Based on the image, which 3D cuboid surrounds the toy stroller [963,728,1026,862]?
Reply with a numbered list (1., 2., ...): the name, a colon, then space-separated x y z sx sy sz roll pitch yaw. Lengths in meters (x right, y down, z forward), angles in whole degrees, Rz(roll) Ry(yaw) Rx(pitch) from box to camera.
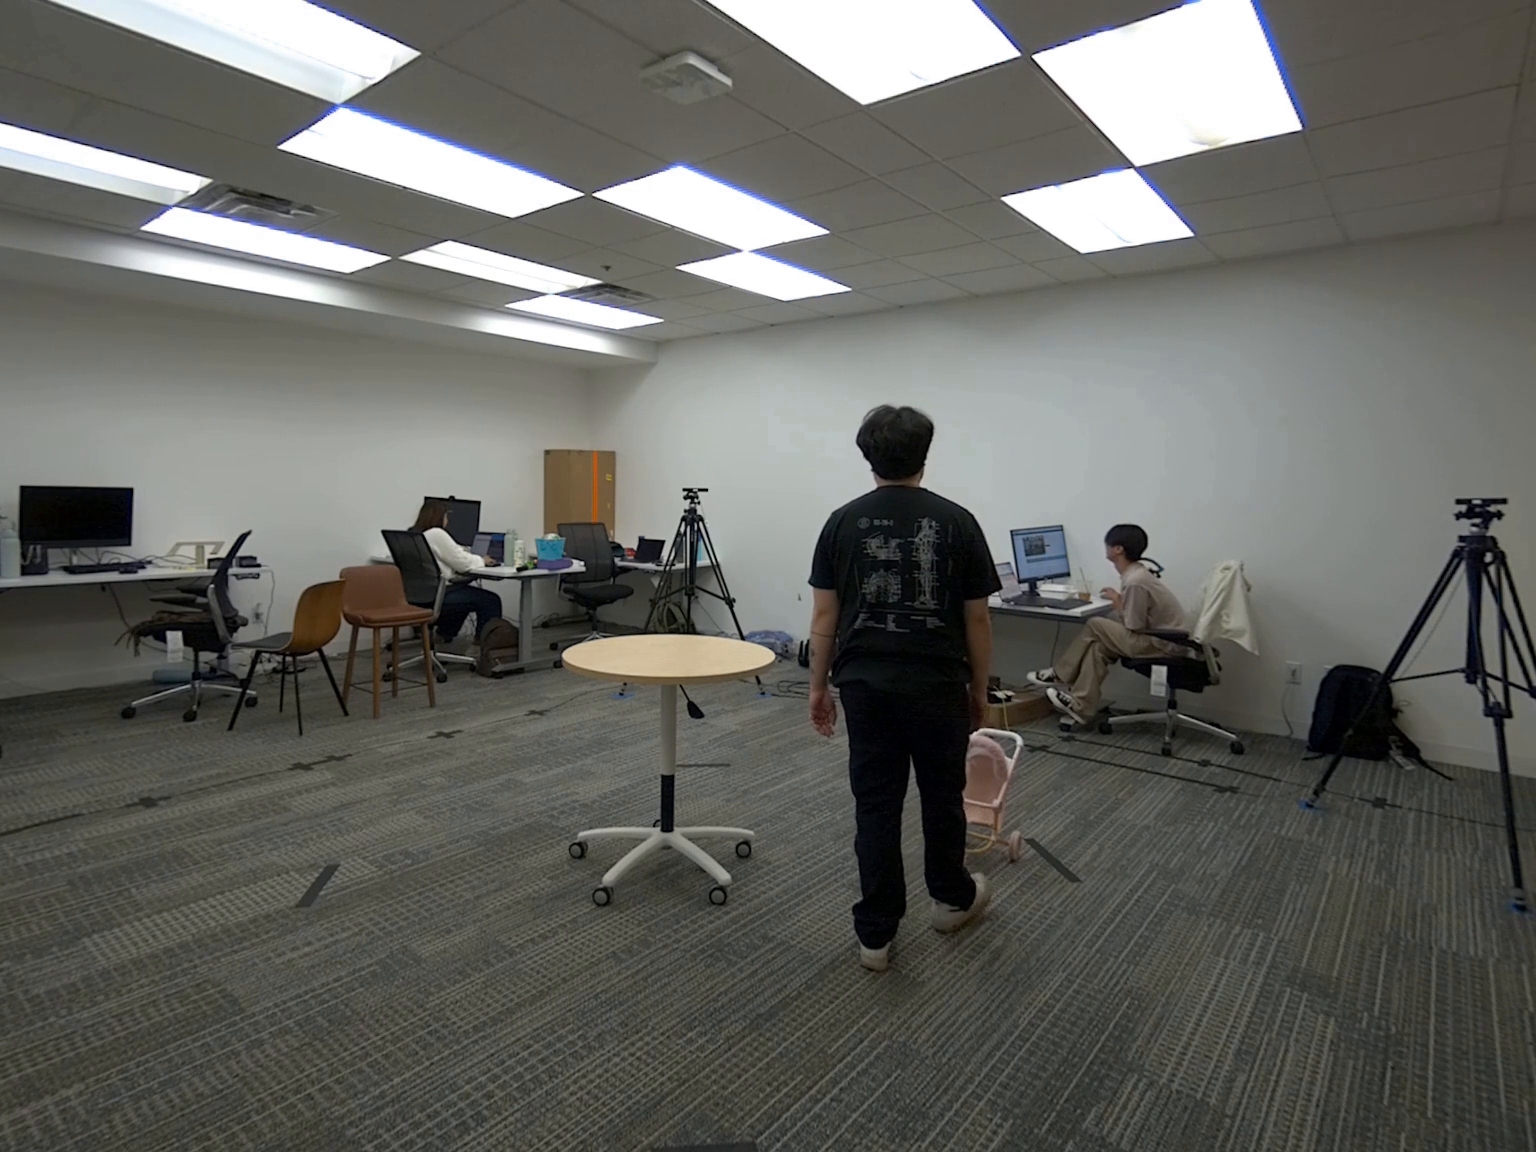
1. toy stroller: 0.803 0.853 3.268 0.291 0.538 0.328 5 -9 38
